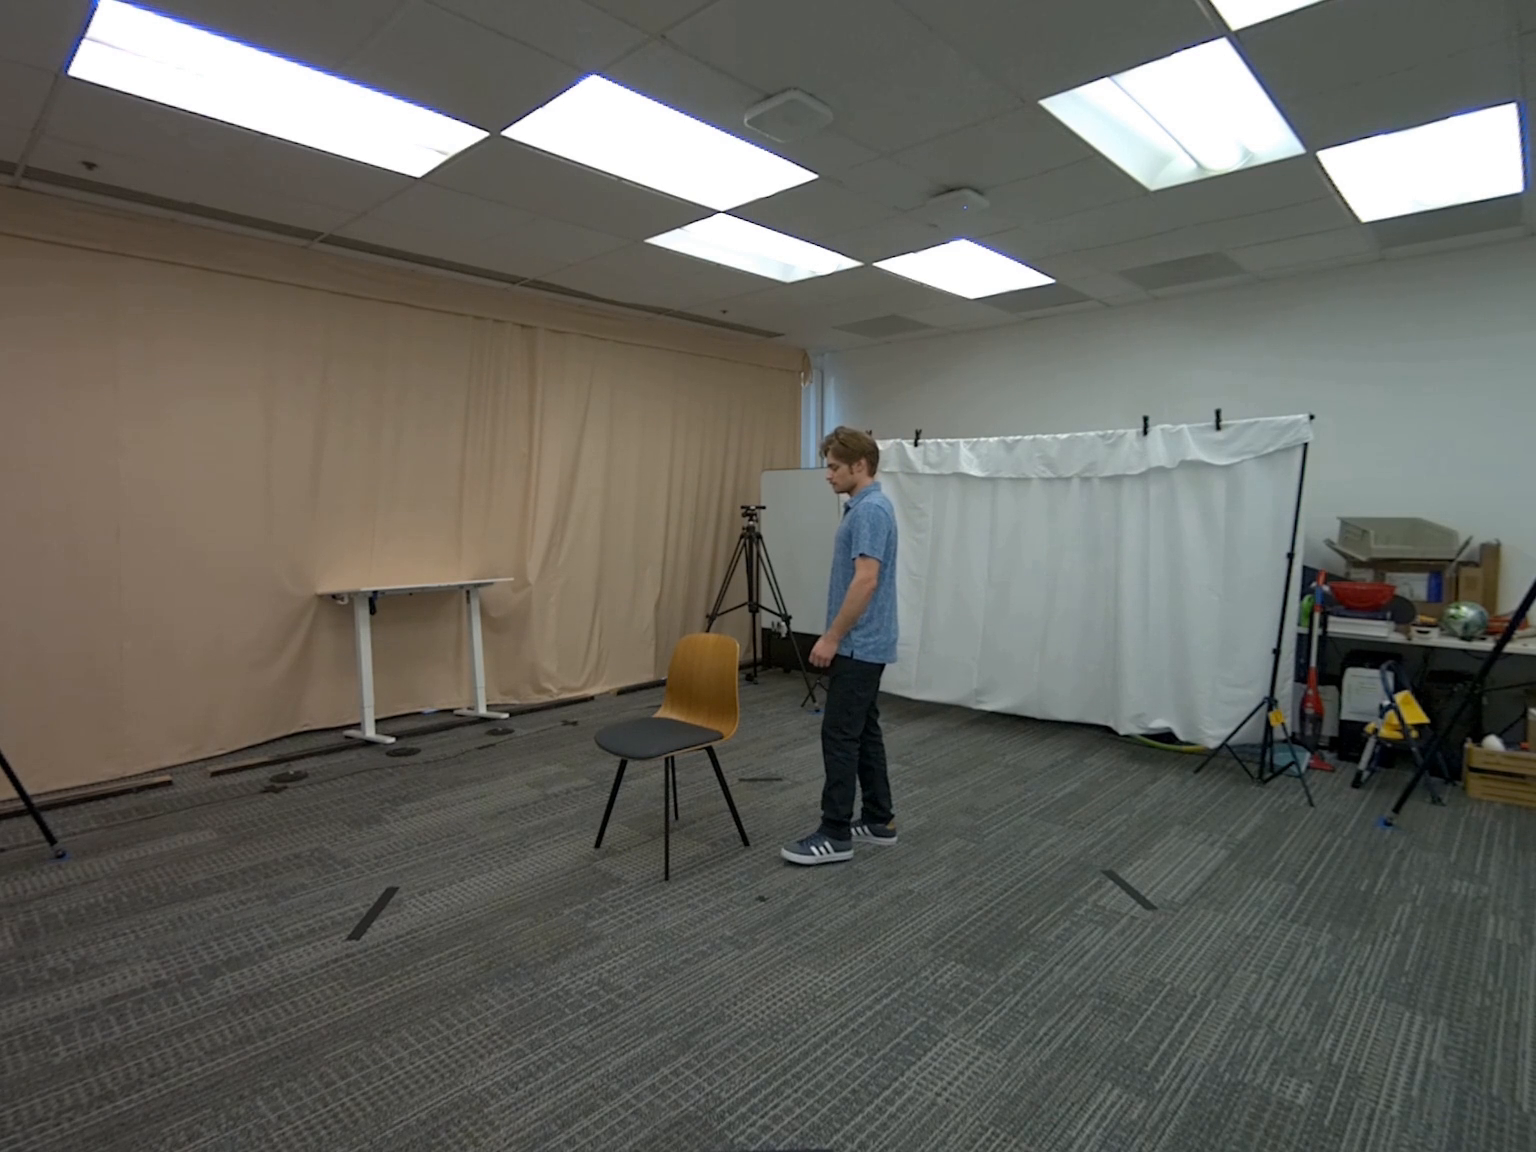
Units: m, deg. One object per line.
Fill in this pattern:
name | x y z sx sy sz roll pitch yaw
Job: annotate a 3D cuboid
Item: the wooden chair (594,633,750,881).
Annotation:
wooden chair | -0.399 0.686 3.408 0.494 0.877 0.506 2 0 43
